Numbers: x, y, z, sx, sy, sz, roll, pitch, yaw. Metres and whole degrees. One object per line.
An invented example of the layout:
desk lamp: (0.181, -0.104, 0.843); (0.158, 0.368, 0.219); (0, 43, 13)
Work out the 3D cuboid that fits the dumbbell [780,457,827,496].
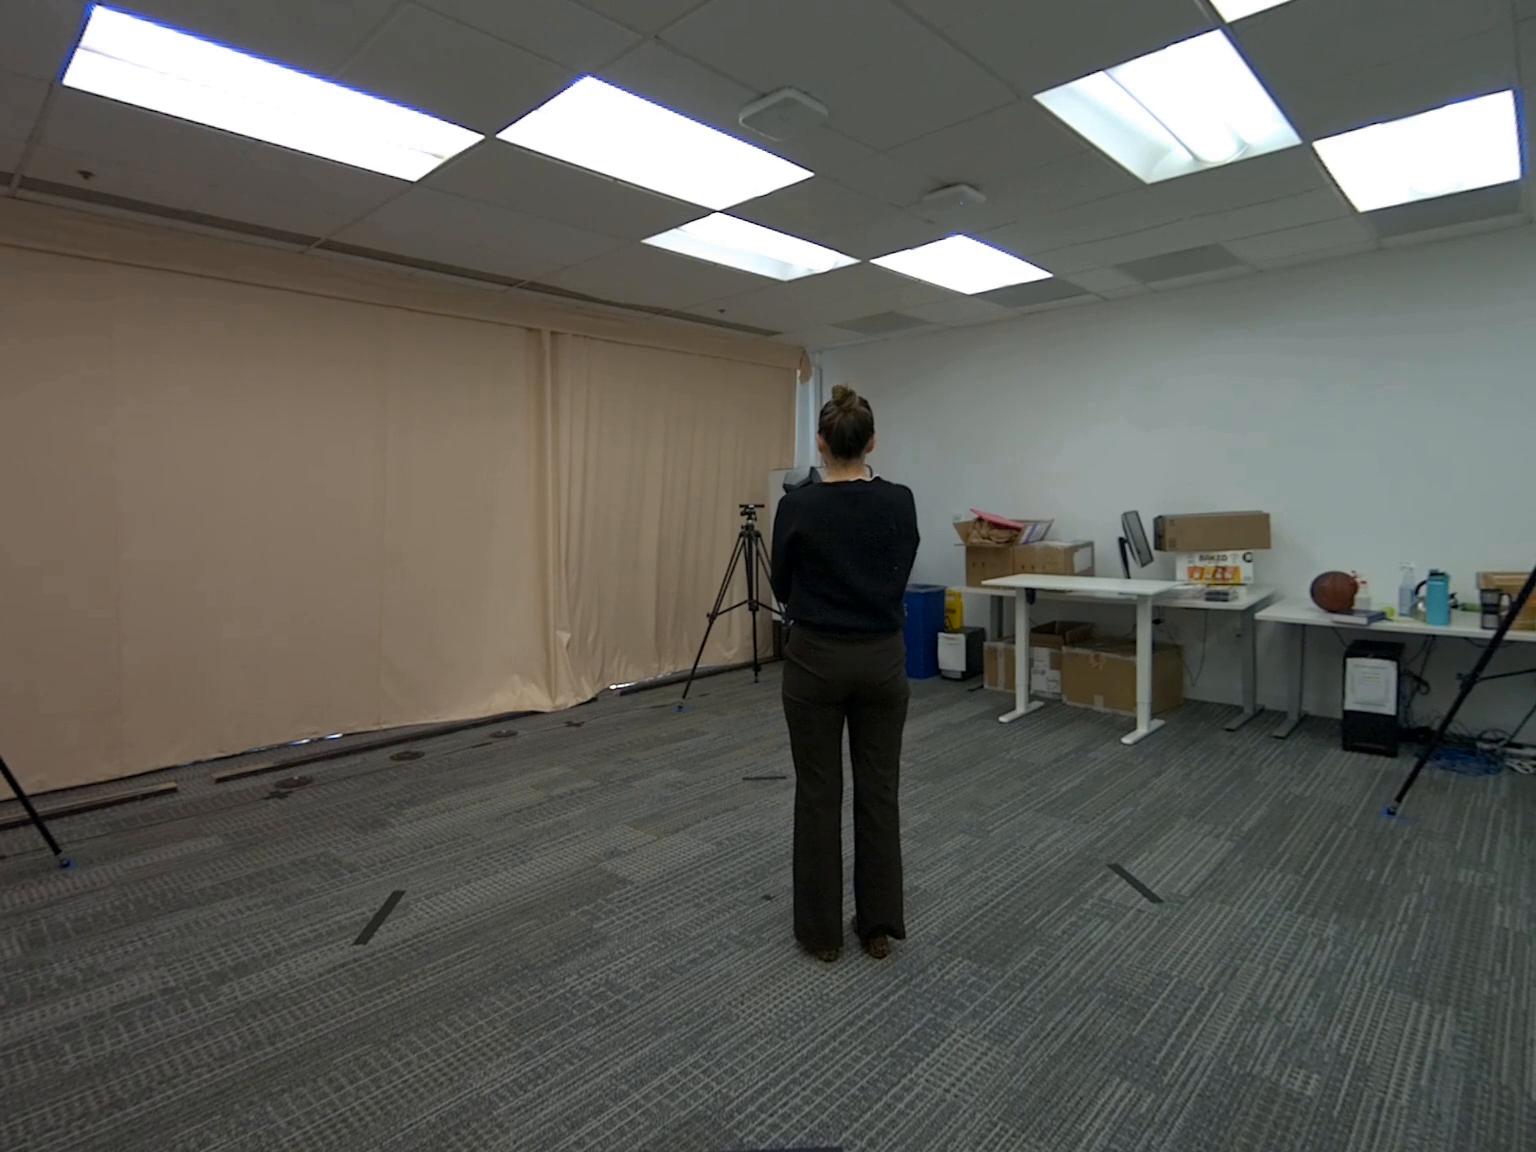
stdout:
dumbbell: (0.165, -0.227, 2.752); (0.111, 0.284, 0.124); (-12, 40, 31)
